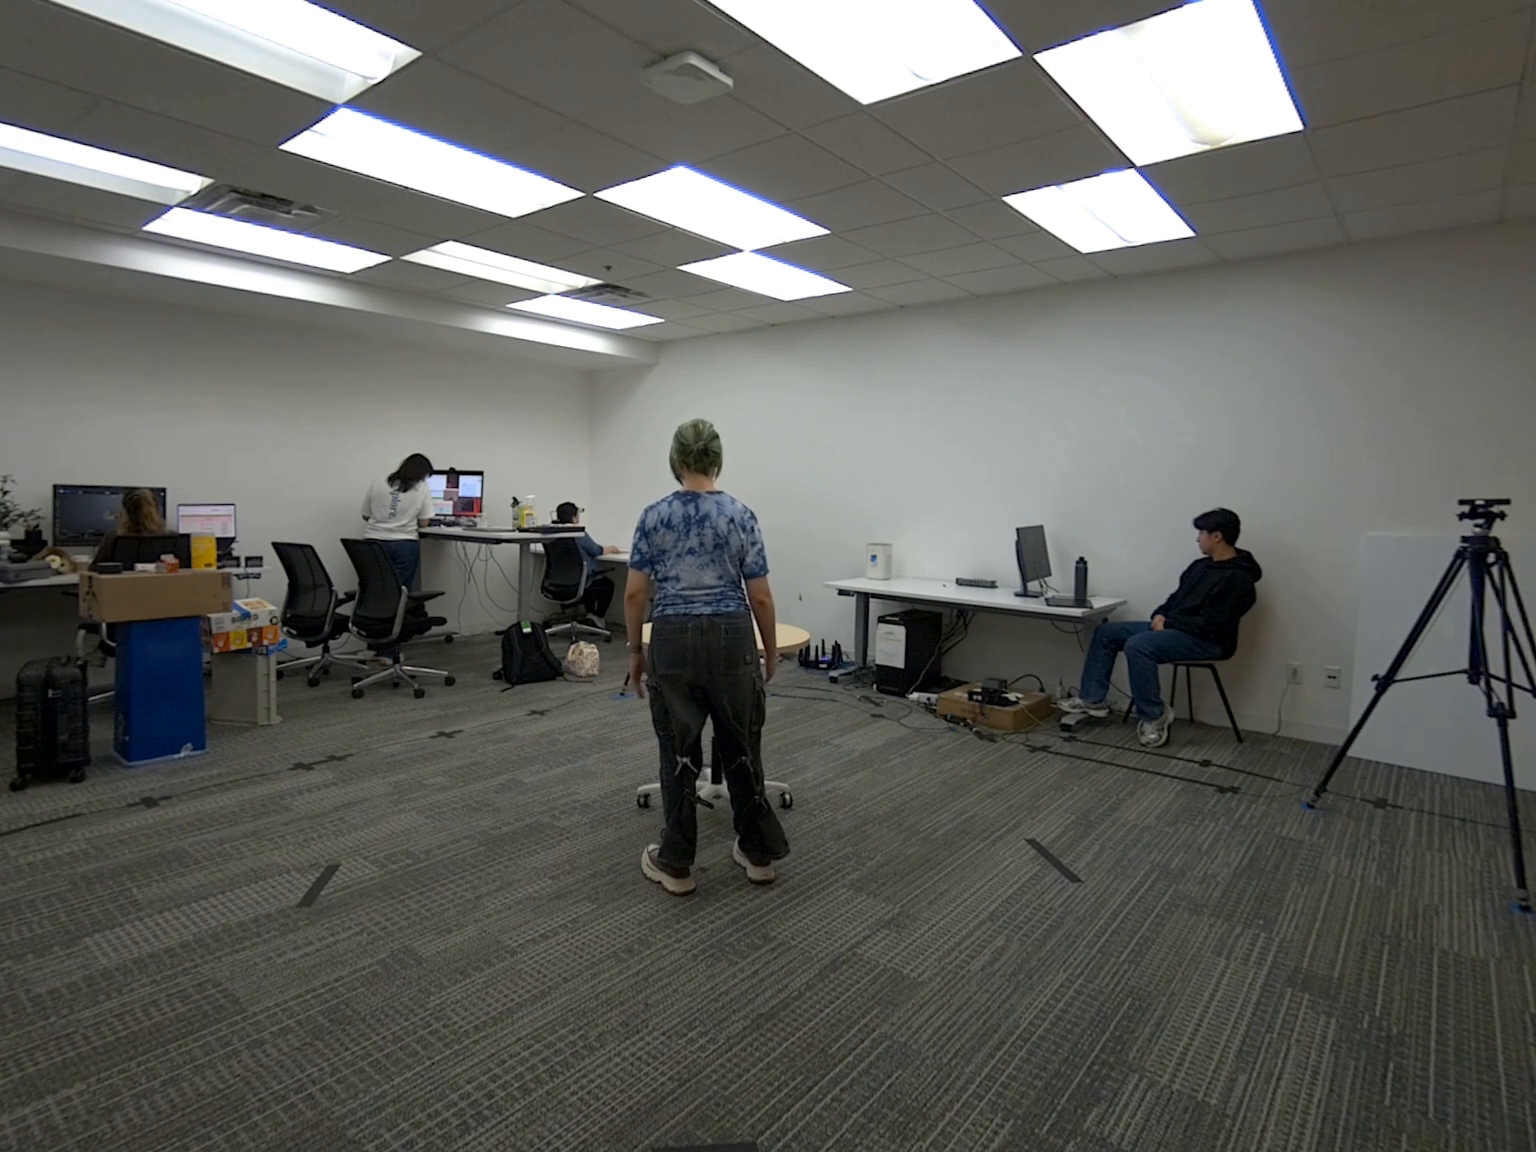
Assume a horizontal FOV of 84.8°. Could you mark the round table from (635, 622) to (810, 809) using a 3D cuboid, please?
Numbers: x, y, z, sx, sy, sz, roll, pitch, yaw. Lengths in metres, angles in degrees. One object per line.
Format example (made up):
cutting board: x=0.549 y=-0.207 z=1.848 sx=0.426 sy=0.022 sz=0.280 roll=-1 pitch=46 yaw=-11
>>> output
round table: x=-0.224 y=0.630 z=3.611 sx=0.763 sy=0.791 sz=0.768 roll=1 pitch=4 yaw=-2
